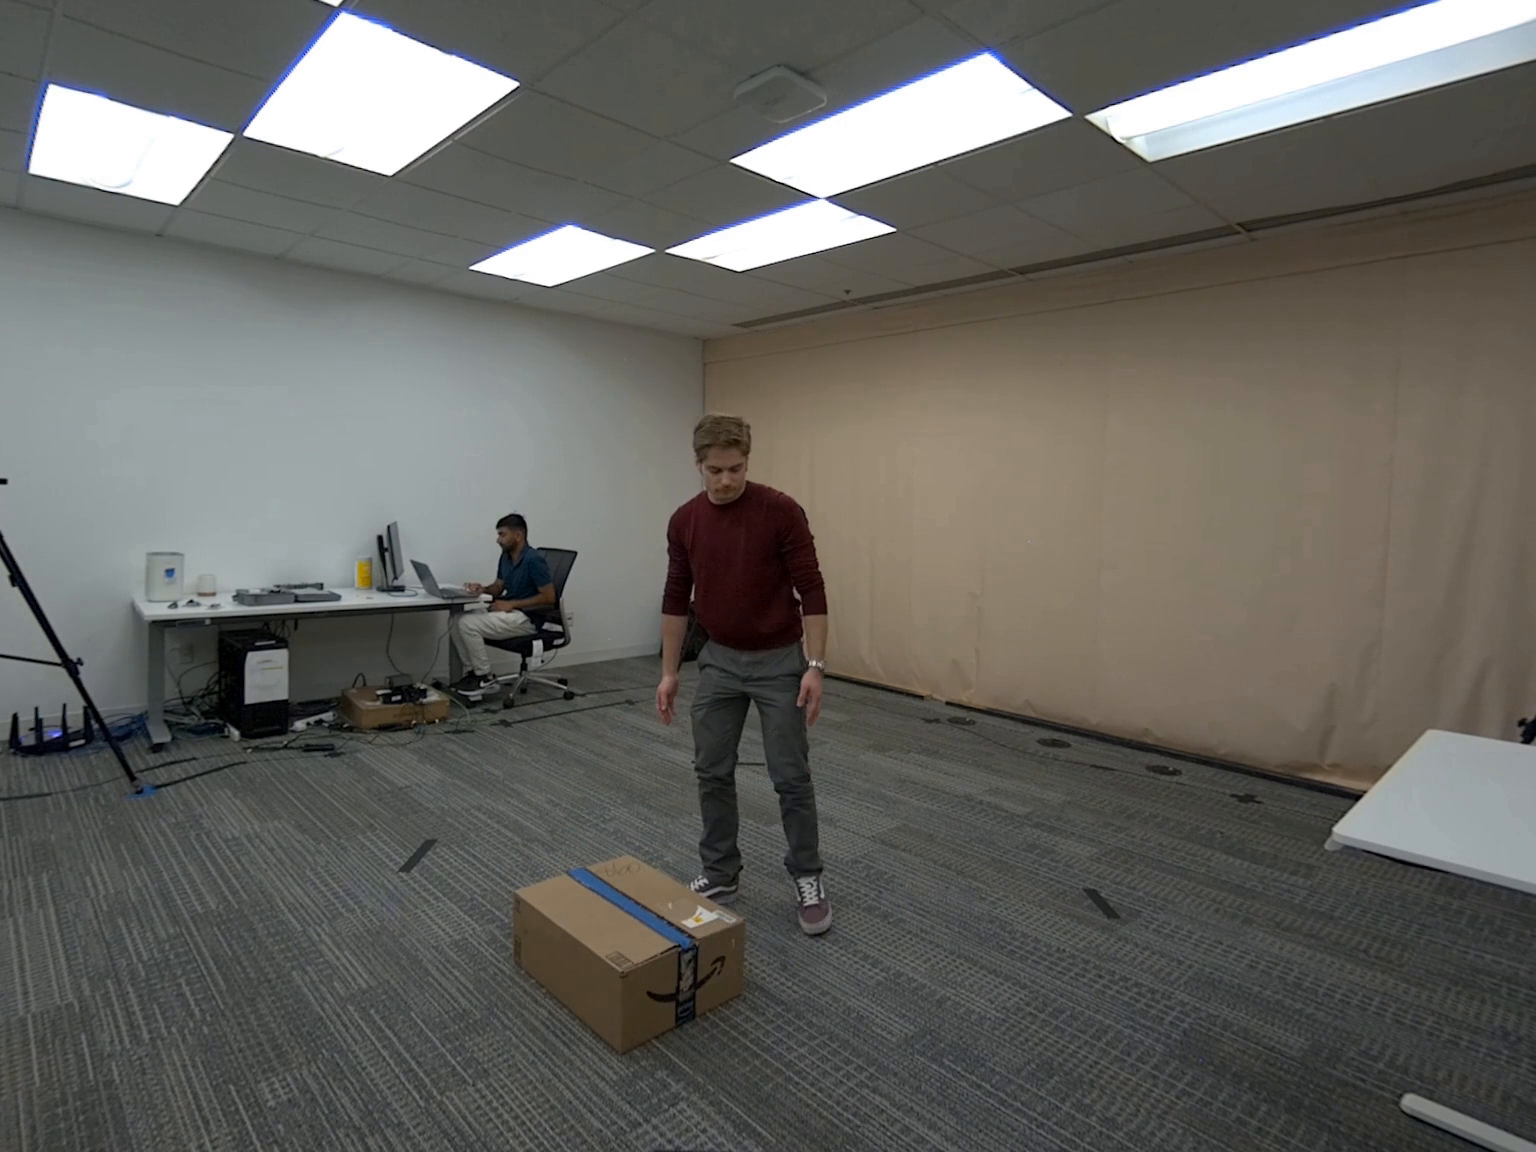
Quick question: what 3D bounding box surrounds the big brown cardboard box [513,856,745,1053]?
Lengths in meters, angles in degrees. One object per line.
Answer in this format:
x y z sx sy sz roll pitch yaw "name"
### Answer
-0.415 1.055 2.419 0.408 0.232 0.604 -3 6 -44 "big brown cardboard box"
